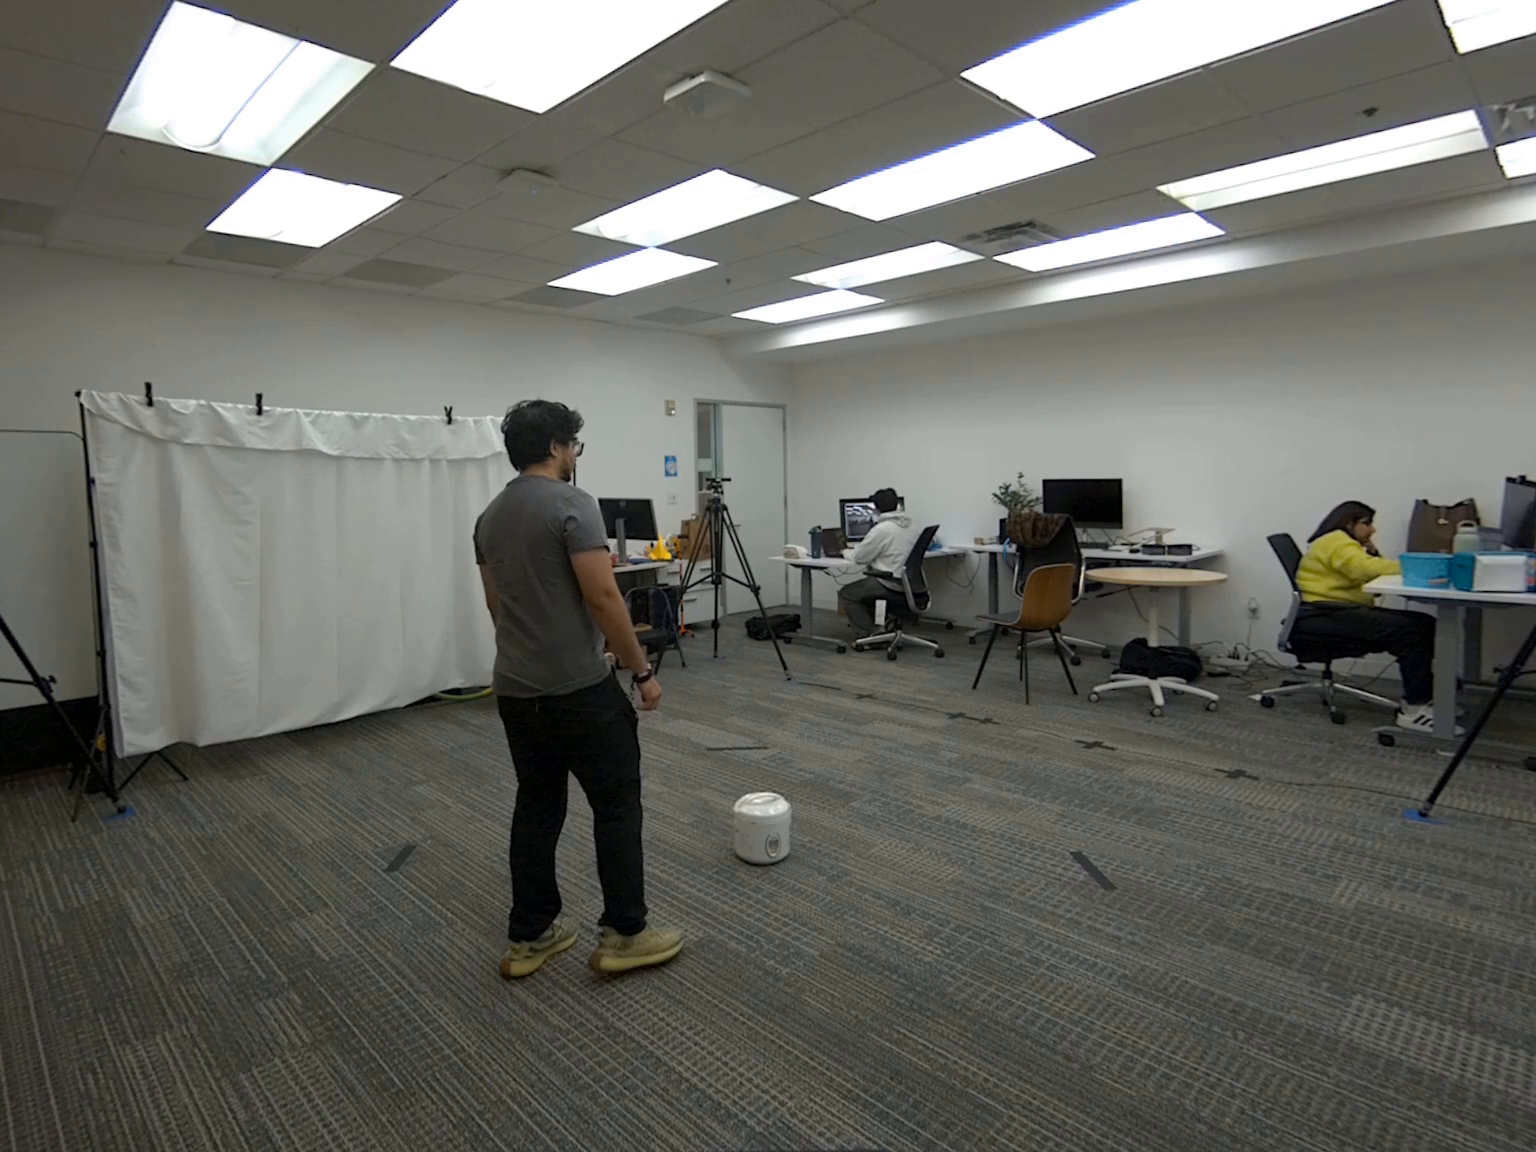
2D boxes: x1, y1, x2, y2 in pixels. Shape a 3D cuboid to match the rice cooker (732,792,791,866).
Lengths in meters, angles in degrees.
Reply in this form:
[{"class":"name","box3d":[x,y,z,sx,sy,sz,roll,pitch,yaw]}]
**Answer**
[{"class":"rice cooker","box3d":[-0.018,0.916,3.163,0.216,0.232,0.222,-3,5,-22]}]
